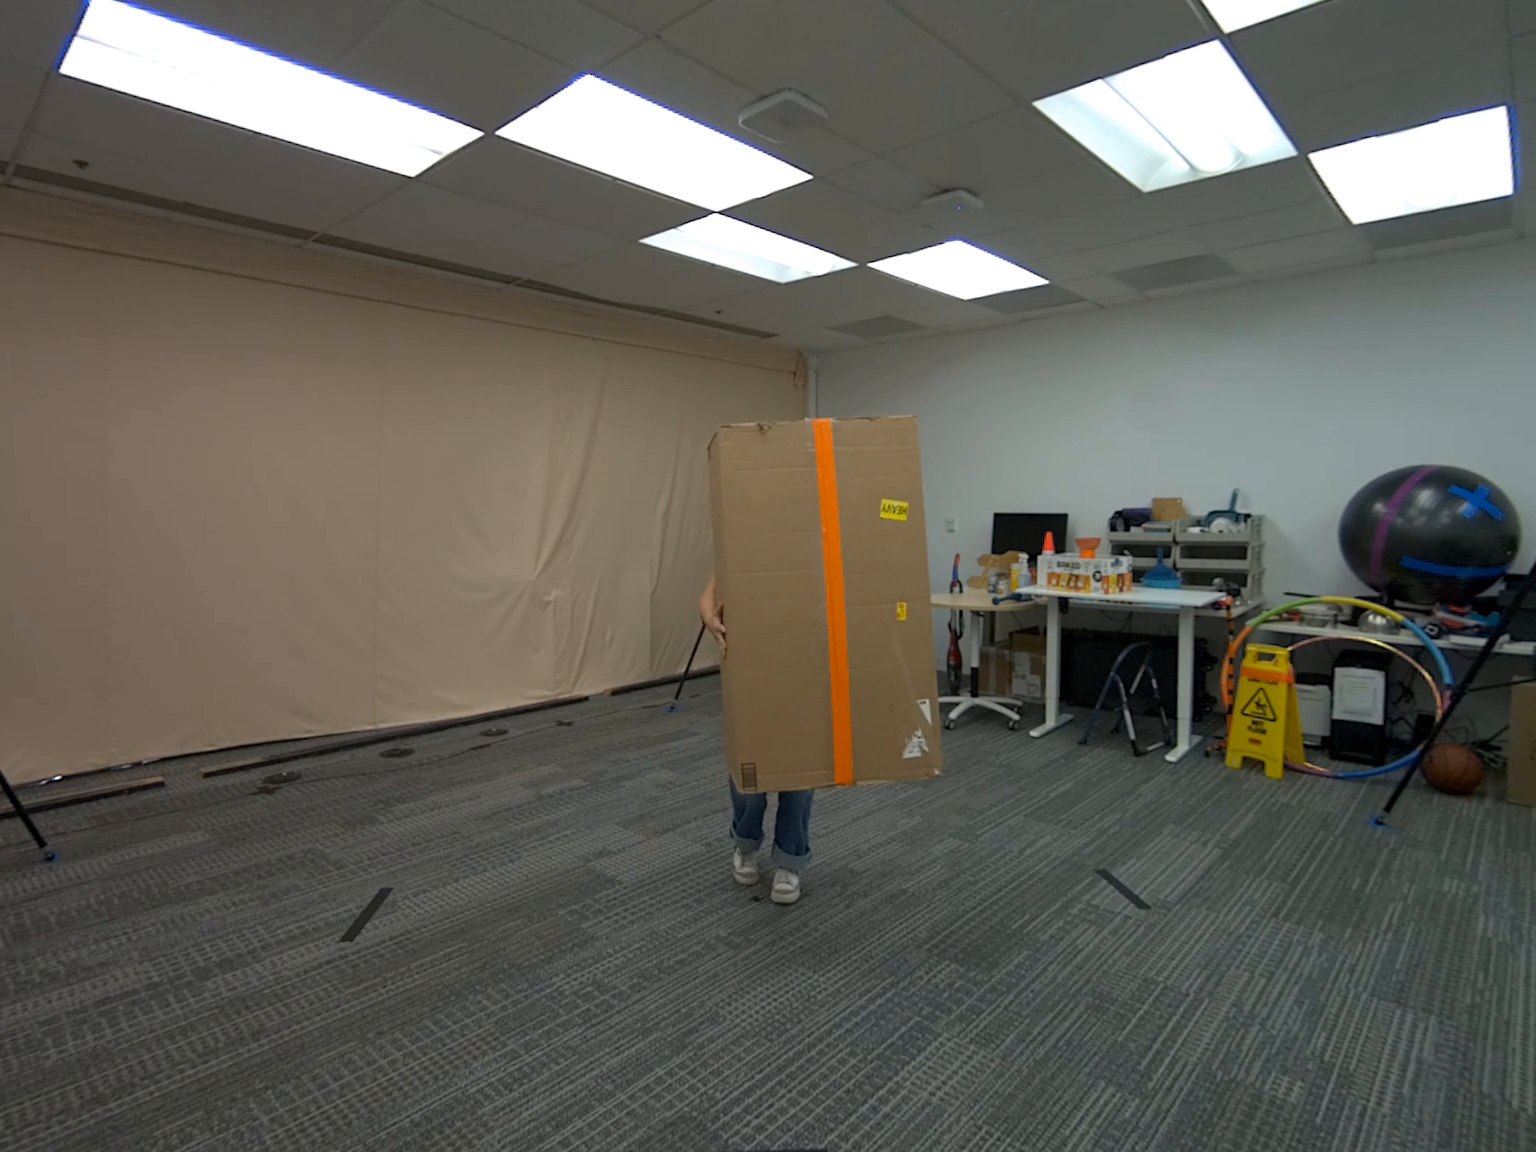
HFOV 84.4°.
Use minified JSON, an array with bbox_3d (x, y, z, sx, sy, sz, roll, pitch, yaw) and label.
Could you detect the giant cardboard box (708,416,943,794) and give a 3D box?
[{"bbox_3d":[0.142,0.072,2.539,0.574,1.027,0.428,-4,-2,-6],"label":"giant cardboard box"}]
